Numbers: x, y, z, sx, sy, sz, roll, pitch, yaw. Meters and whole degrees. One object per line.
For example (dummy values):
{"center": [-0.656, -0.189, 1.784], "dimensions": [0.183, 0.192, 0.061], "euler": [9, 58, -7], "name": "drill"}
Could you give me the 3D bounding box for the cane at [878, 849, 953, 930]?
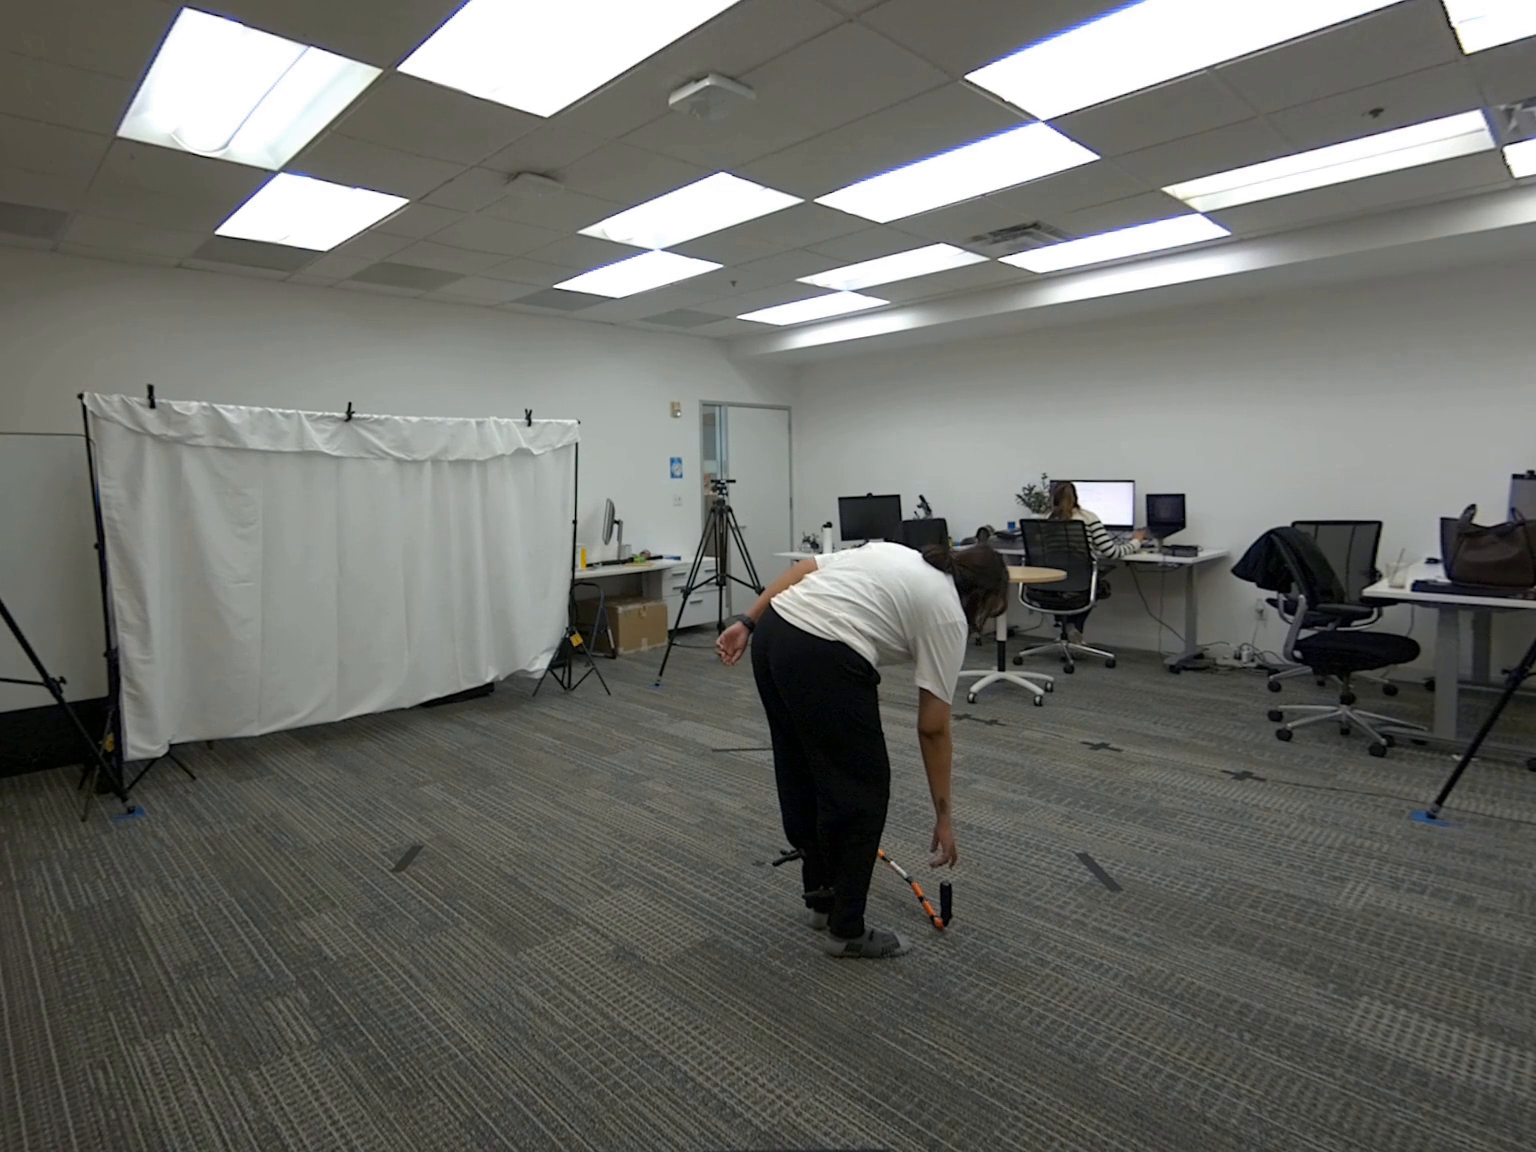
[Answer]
{"center": [0.362, 0.957, 3.017], "dimensions": [0.149, 0.205, 0.931], "euler": [0, 8, -22], "name": "cane"}
